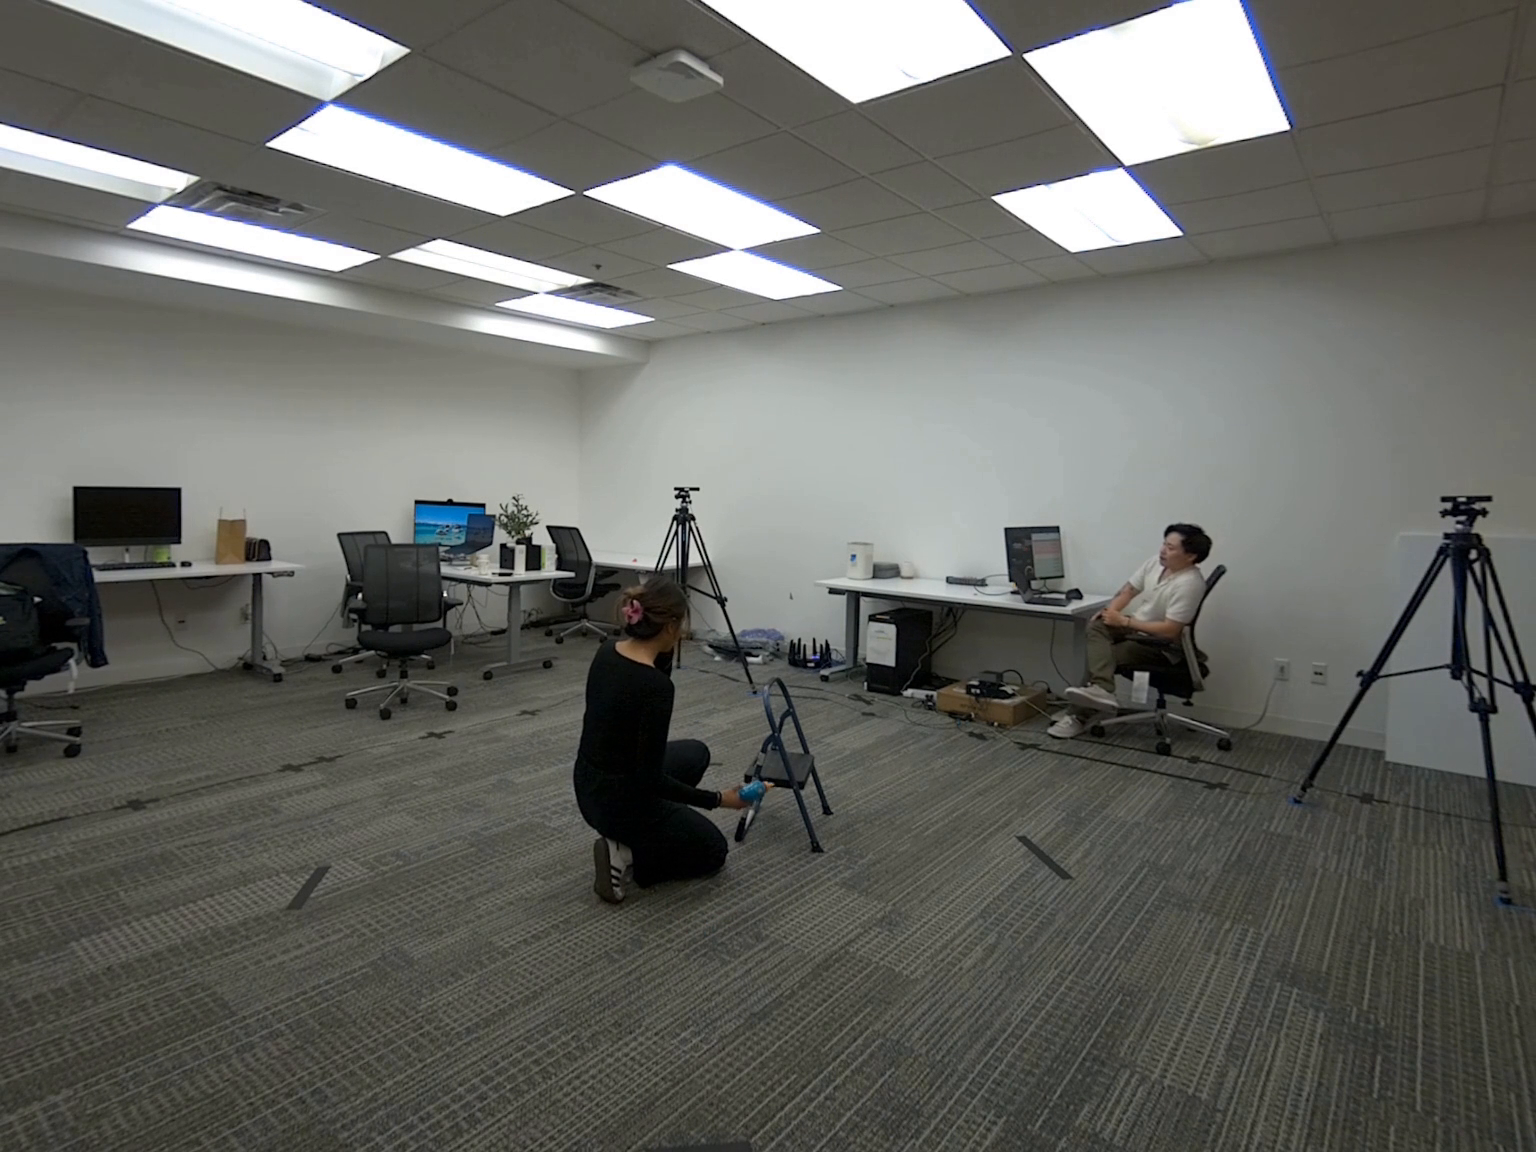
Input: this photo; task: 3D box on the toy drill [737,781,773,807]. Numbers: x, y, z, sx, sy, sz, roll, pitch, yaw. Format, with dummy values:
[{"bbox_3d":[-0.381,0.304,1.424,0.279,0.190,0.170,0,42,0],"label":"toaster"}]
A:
[{"bbox_3d":[-0.078,0.743,2.908,0.149,0.062,0.165,-17,-8,42],"label":"toy drill"}]
